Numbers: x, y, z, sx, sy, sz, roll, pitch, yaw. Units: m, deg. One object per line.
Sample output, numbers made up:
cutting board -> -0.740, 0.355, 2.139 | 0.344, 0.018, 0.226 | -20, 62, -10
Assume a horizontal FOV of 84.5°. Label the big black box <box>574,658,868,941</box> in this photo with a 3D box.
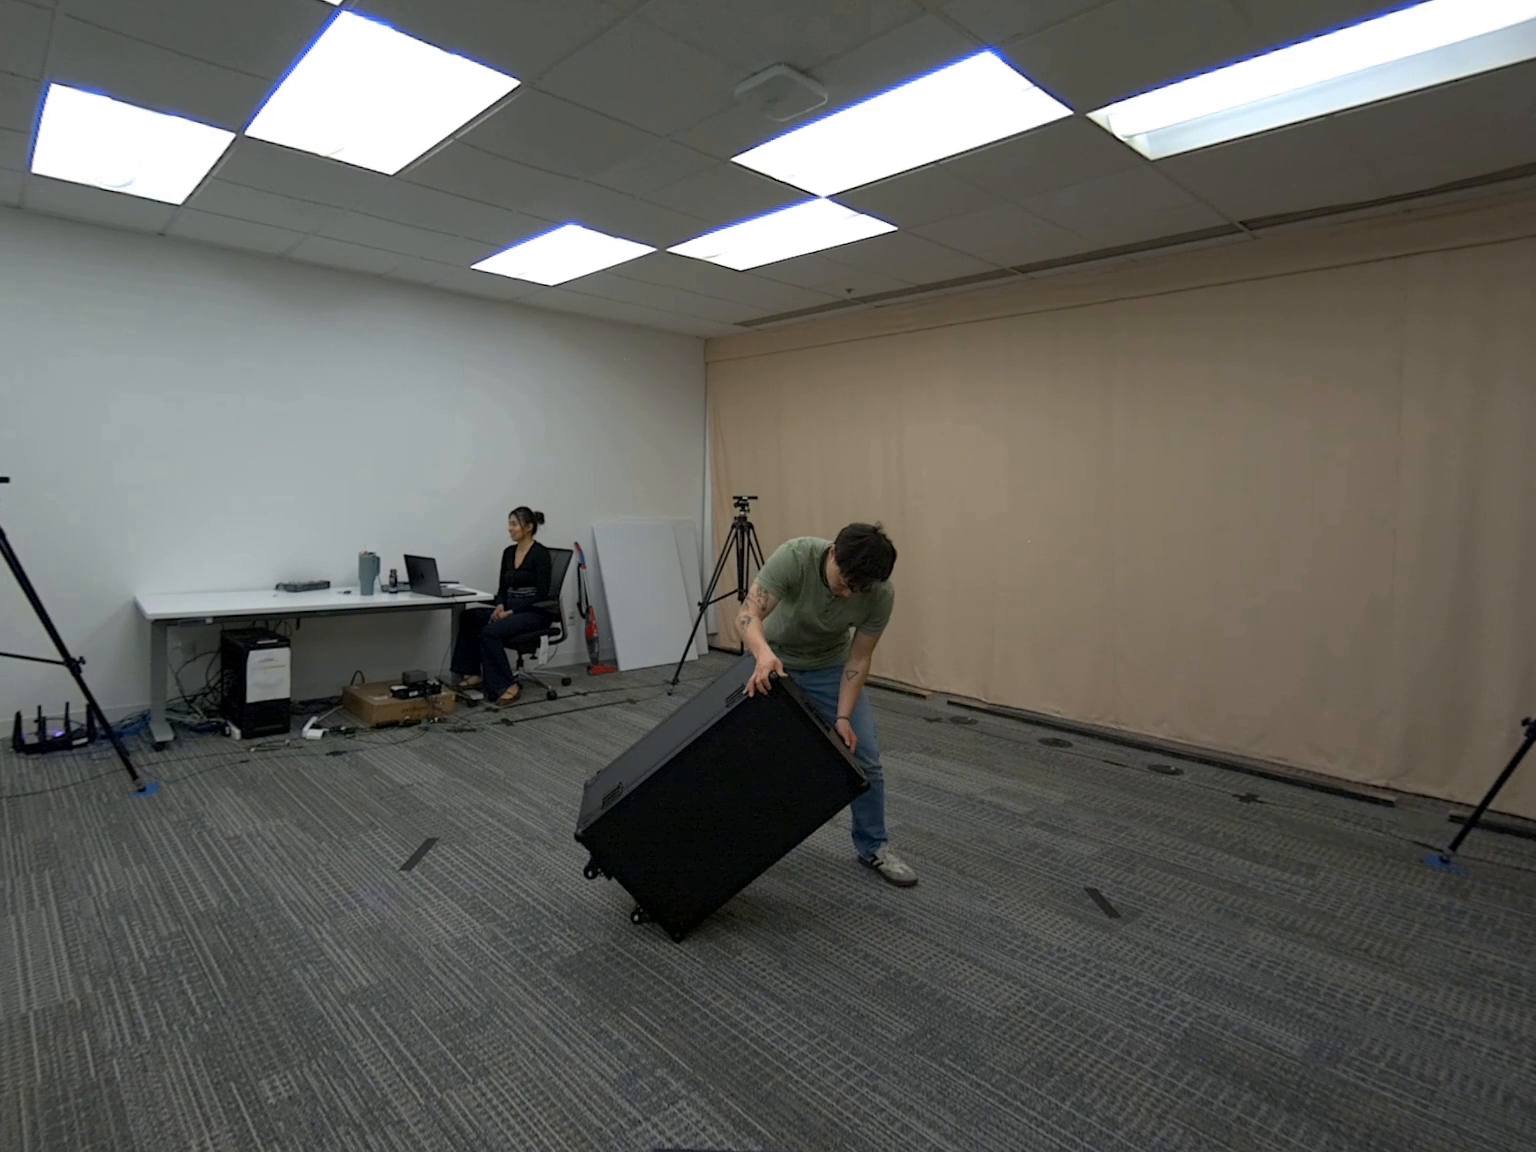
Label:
big black box -> -0.196, 0.700, 2.731 | 0.862, 0.515, 0.401 | -40, 11, 3
